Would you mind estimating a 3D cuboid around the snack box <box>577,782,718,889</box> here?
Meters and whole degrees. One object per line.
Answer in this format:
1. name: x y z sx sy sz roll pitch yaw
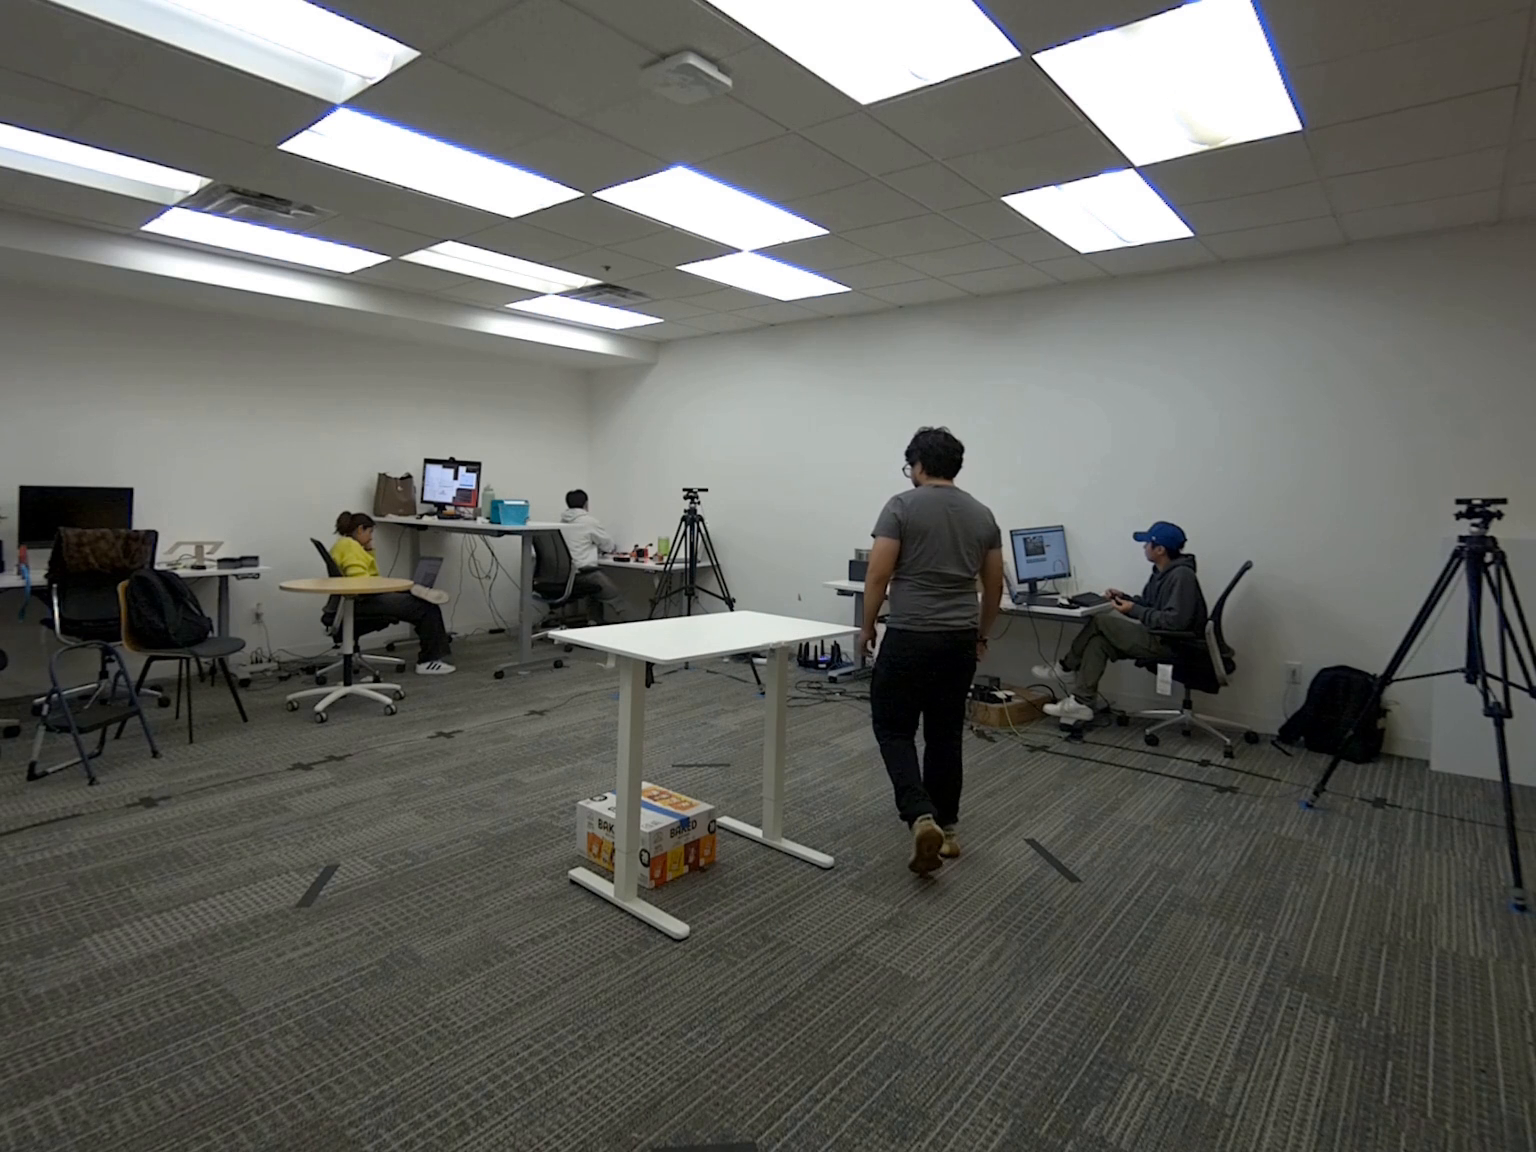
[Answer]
1. snack box: -0.468 0.958 3.192 0.419 0.205 0.330 5 6 41
